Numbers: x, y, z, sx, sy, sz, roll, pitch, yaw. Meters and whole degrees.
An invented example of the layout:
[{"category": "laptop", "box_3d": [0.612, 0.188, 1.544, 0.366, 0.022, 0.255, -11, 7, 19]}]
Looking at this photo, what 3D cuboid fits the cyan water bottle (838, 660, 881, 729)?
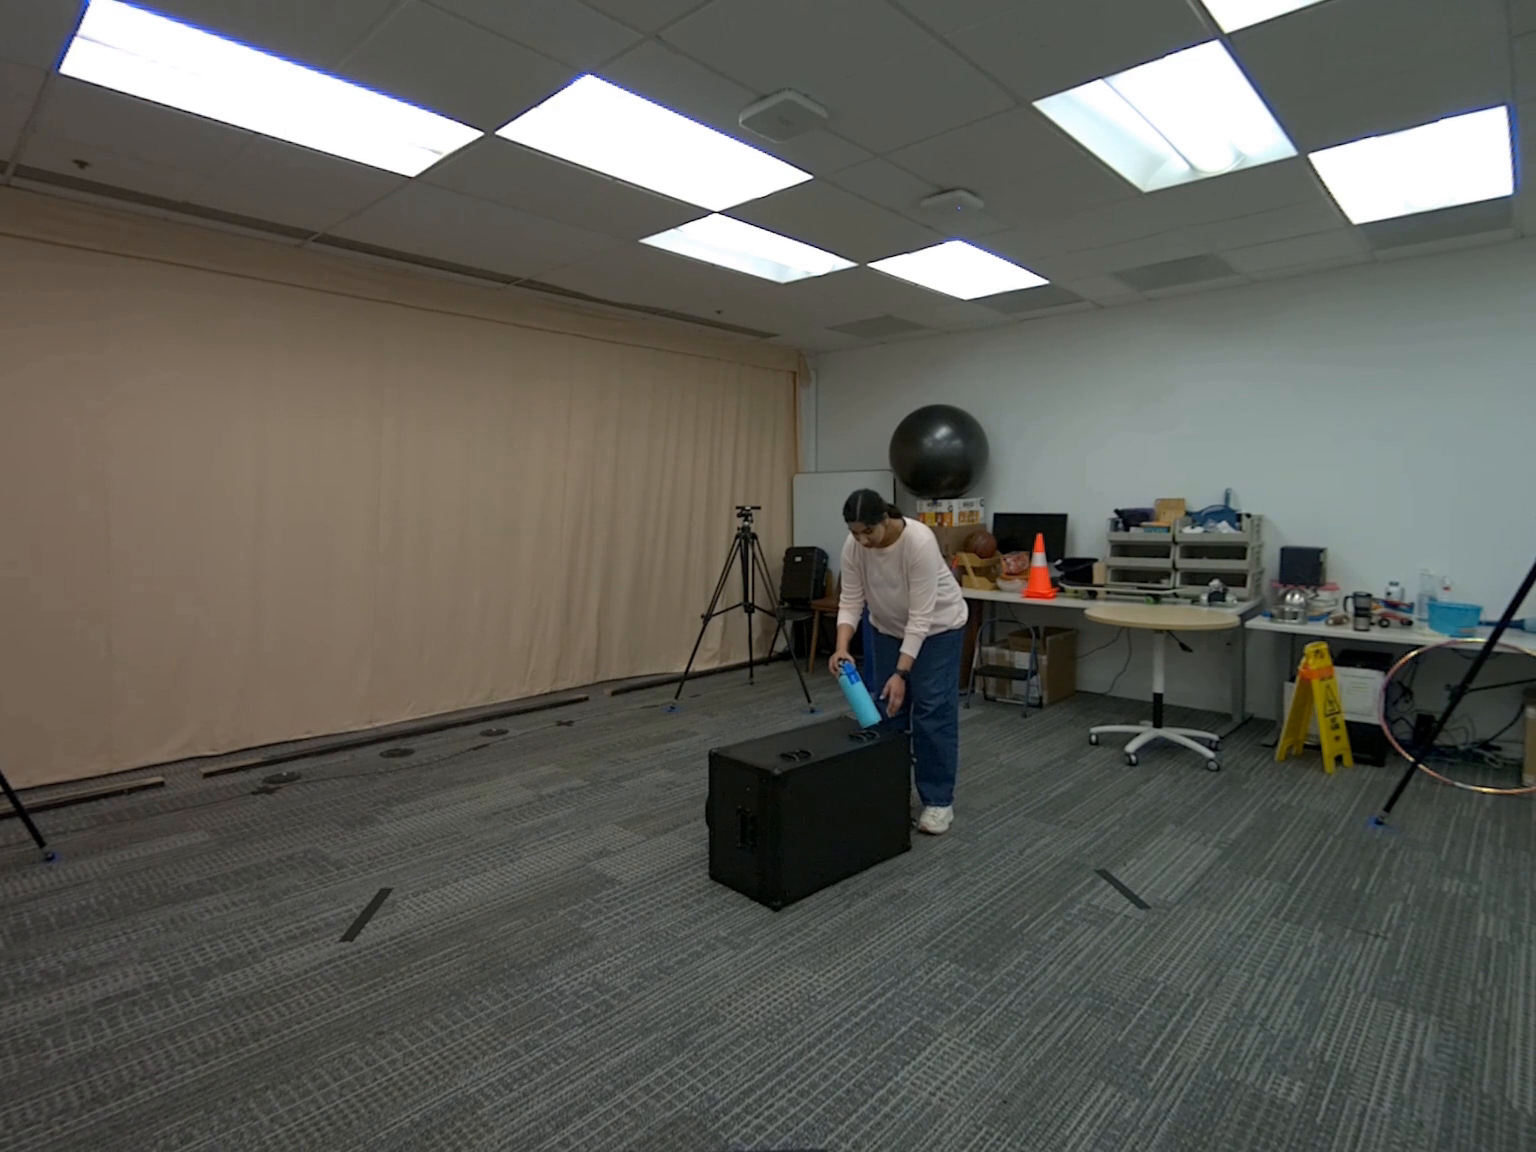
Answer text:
[{"category": "cyan water bottle", "box_3d": [0.374, 0.484, 3.465, 0.092, 0.287, 0.091, -21, -13, -6]}]
